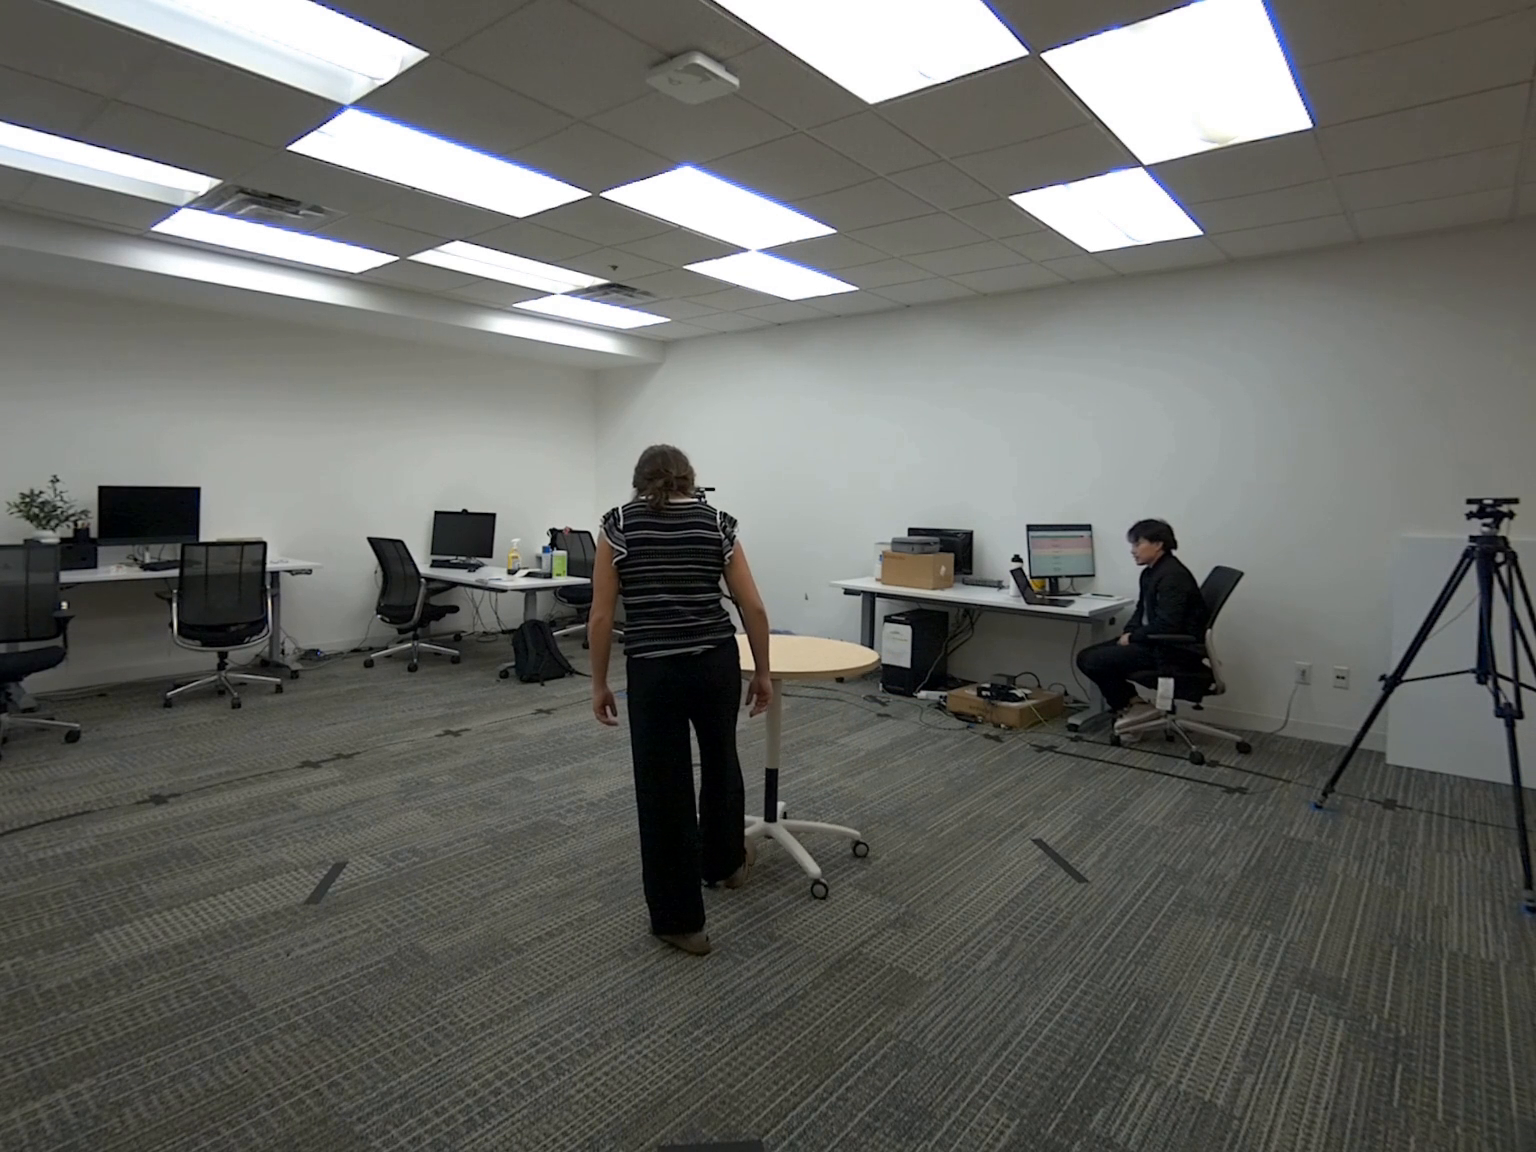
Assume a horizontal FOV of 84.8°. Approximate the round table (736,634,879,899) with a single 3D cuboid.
[{"bbox_3d":[0.016,0.670,3.186,0.784,0.784,0.788,1,3,-2],"label":"round table"}]
